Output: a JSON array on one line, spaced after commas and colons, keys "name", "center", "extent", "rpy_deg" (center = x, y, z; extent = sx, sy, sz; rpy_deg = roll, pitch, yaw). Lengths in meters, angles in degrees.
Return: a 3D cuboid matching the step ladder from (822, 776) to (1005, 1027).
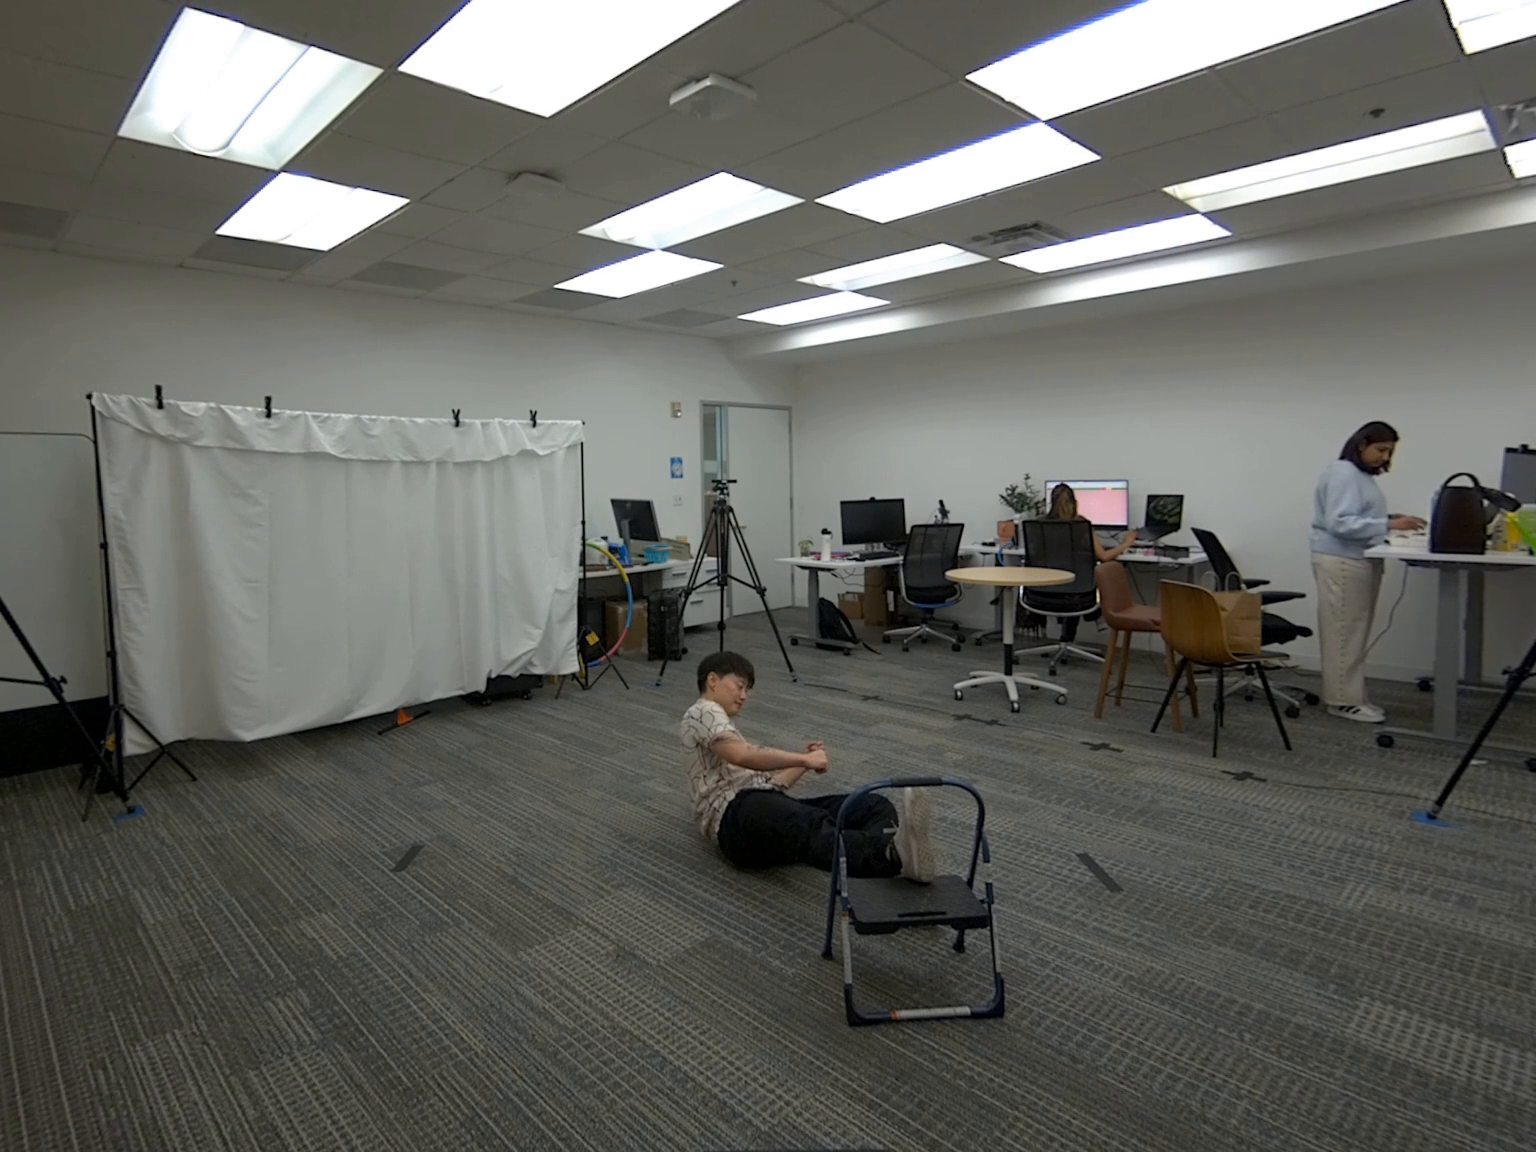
[{"name": "step ladder", "center": [0.390, 0.831, 2.335], "extent": [0.428, 0.604, 0.352], "rpy_deg": [-2, 4, -6]}]
